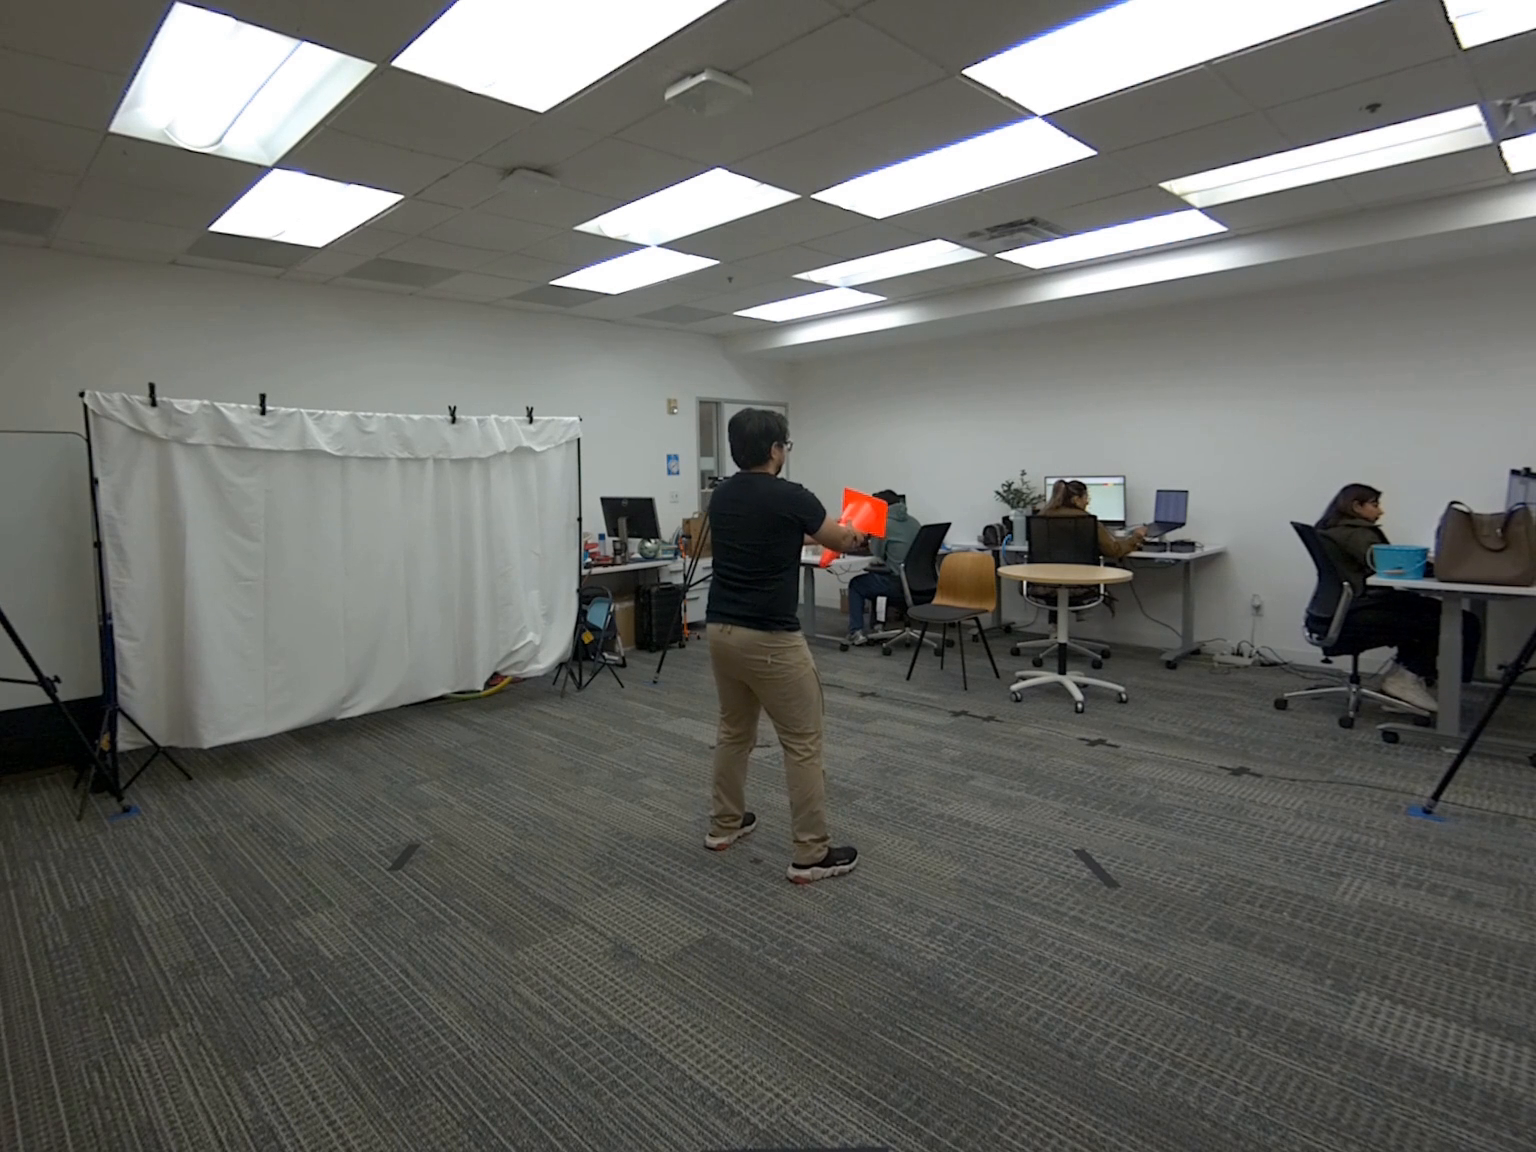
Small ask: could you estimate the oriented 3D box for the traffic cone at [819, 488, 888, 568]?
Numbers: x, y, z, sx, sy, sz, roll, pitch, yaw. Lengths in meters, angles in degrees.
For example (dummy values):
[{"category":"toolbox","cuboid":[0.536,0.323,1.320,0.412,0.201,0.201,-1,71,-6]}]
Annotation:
[{"category":"traffic cone","cuboid":[0.311,-0.151,3.474,0.211,0.198,0.383,23,47,23]}]
